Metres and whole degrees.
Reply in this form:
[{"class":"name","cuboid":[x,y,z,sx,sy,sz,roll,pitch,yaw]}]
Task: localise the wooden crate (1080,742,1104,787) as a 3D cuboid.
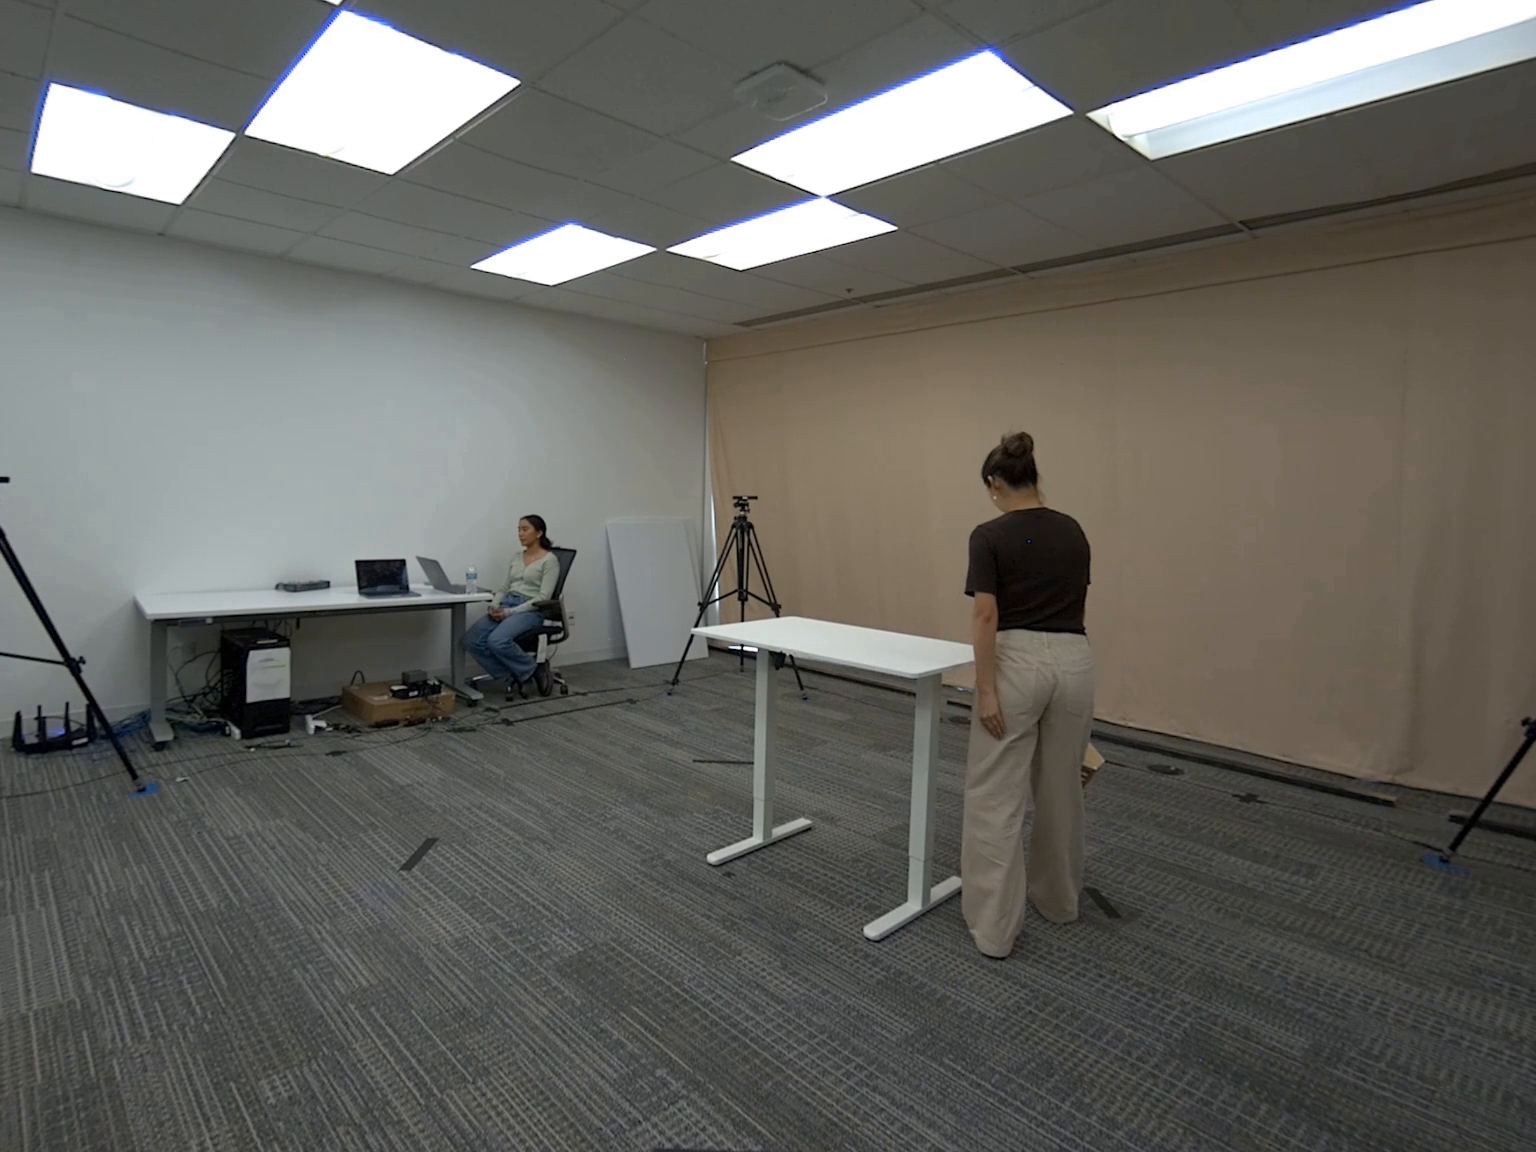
[{"class":"wooden crate","cuboid":[1.045,0.594,3.066,0.307,0.275,0.317,20,-30,16]}]
